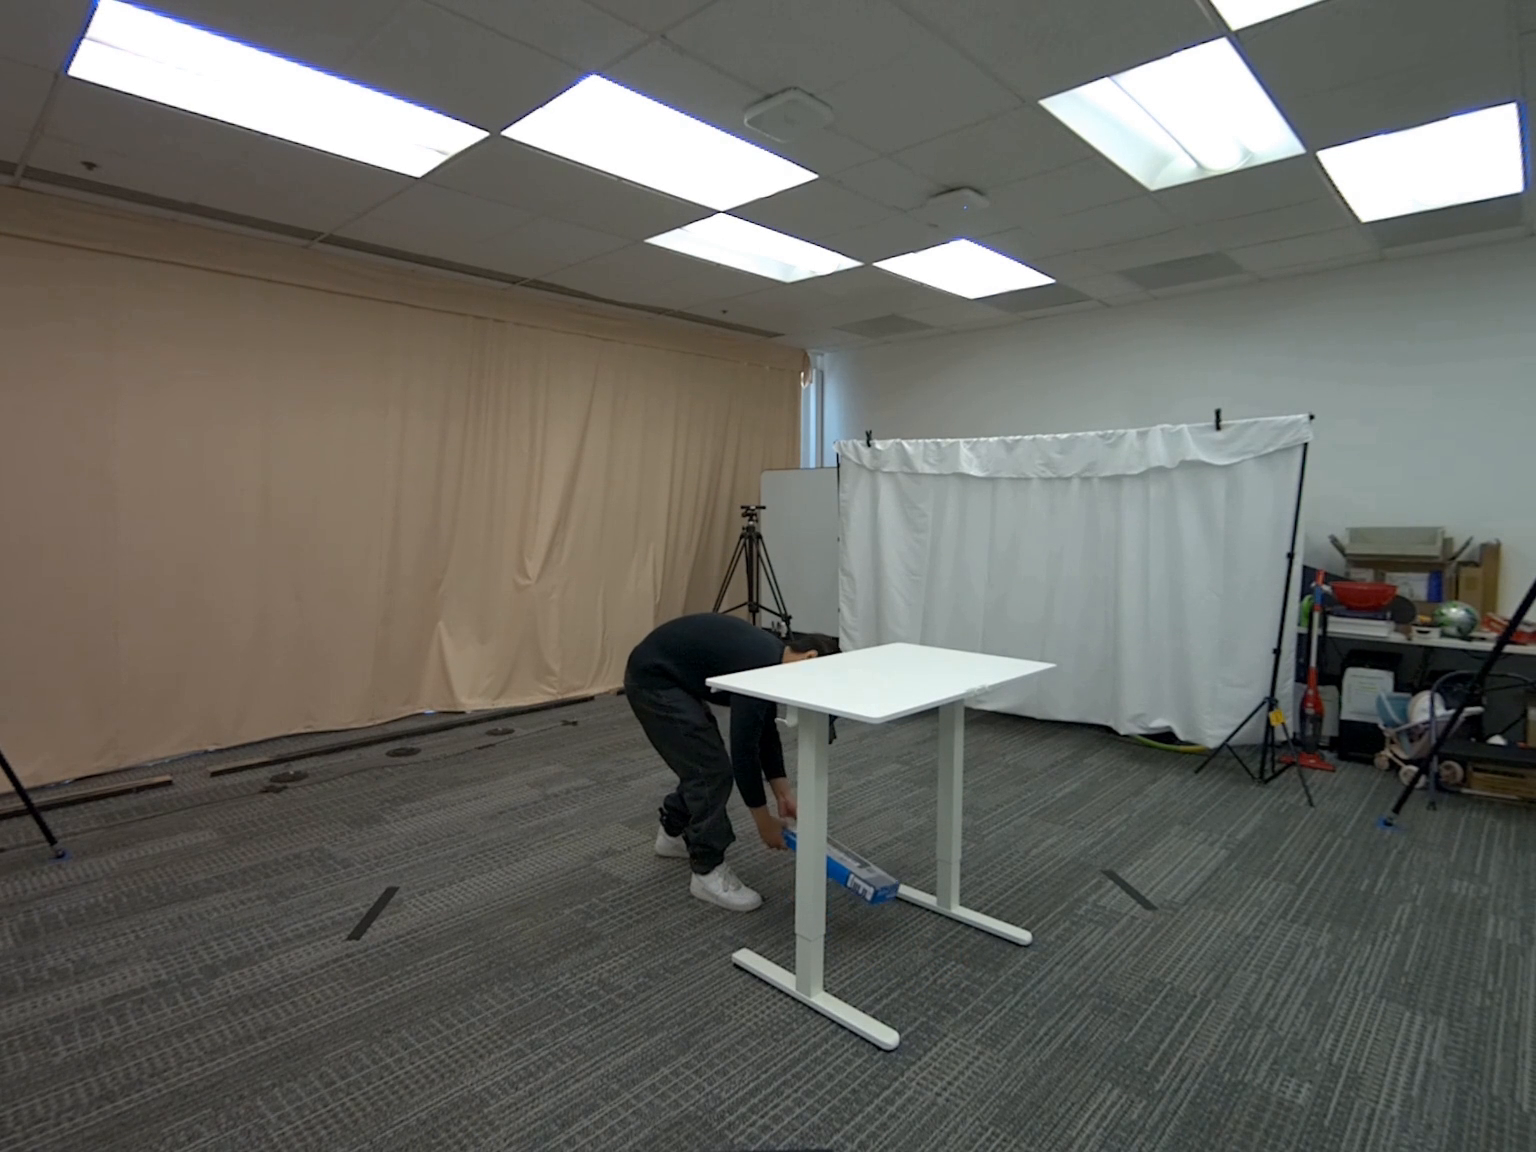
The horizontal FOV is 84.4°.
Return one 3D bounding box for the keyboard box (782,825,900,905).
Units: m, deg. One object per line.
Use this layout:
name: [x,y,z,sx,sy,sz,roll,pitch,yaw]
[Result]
keyboard box: [0.228,0.962,2.860,0.453,0.059,0.170,23,5,37]
